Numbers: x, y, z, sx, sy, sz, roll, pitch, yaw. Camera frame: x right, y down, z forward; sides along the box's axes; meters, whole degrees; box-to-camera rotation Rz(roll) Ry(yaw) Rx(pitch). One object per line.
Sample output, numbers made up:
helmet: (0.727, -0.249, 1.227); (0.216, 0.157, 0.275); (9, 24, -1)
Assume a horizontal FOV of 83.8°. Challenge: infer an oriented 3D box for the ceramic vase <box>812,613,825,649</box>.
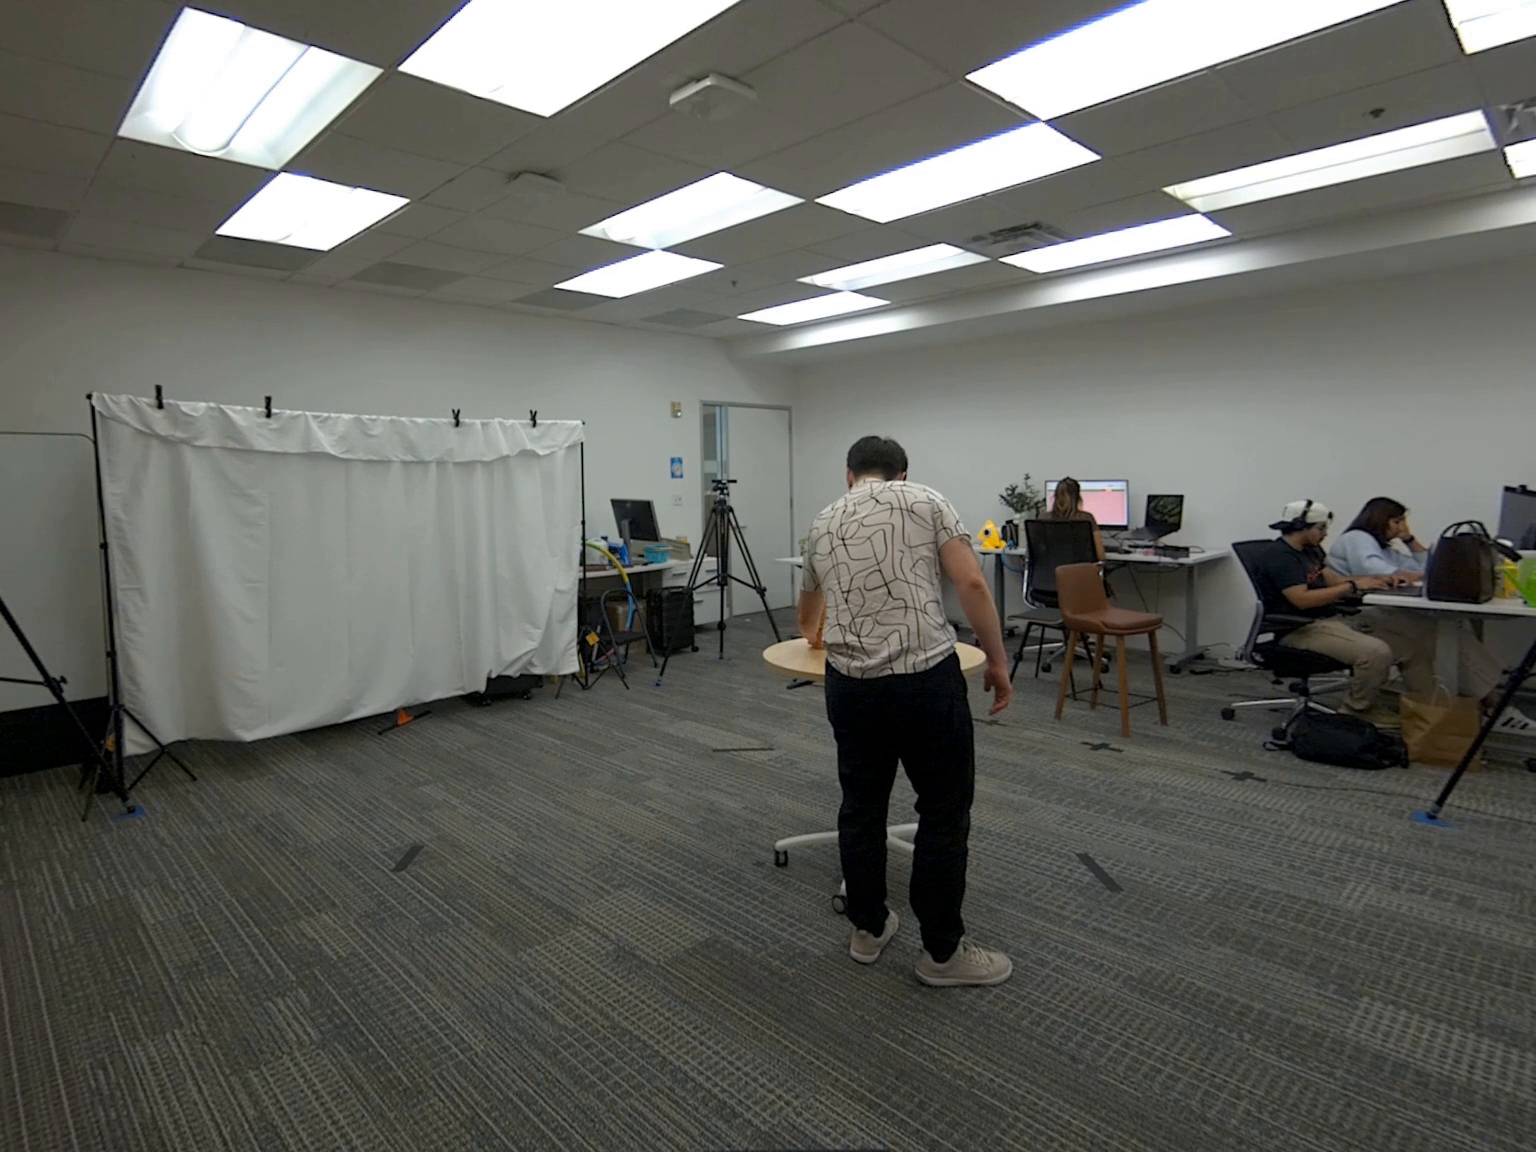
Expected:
ceramic vase: (0.217, 0.150, 3.119); (0.155, 0.219, 0.138); (-5, 4, -39)
